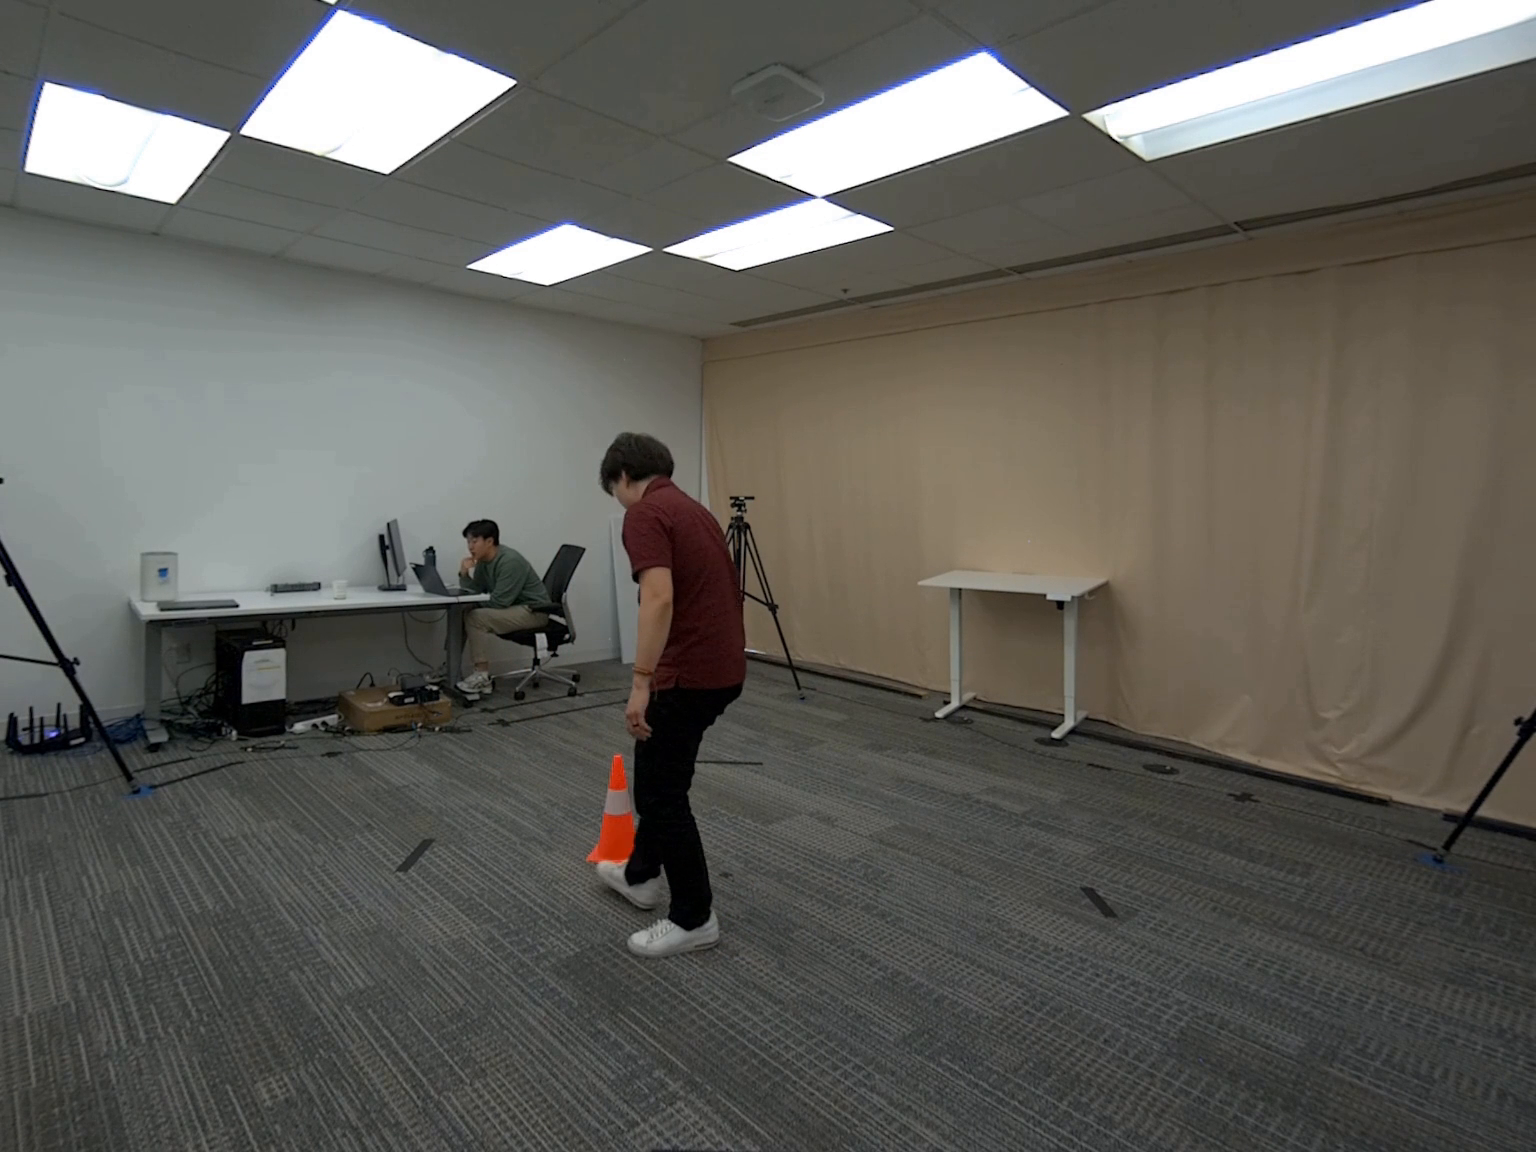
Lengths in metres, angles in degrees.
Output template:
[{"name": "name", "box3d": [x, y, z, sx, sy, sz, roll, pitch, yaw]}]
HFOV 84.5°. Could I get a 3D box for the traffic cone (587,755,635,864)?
[{"name": "traffic cone", "box3d": [-0.598, 0.895, 3.269, 0.207, 0.383, 0.202, 1, 3, 11]}]
